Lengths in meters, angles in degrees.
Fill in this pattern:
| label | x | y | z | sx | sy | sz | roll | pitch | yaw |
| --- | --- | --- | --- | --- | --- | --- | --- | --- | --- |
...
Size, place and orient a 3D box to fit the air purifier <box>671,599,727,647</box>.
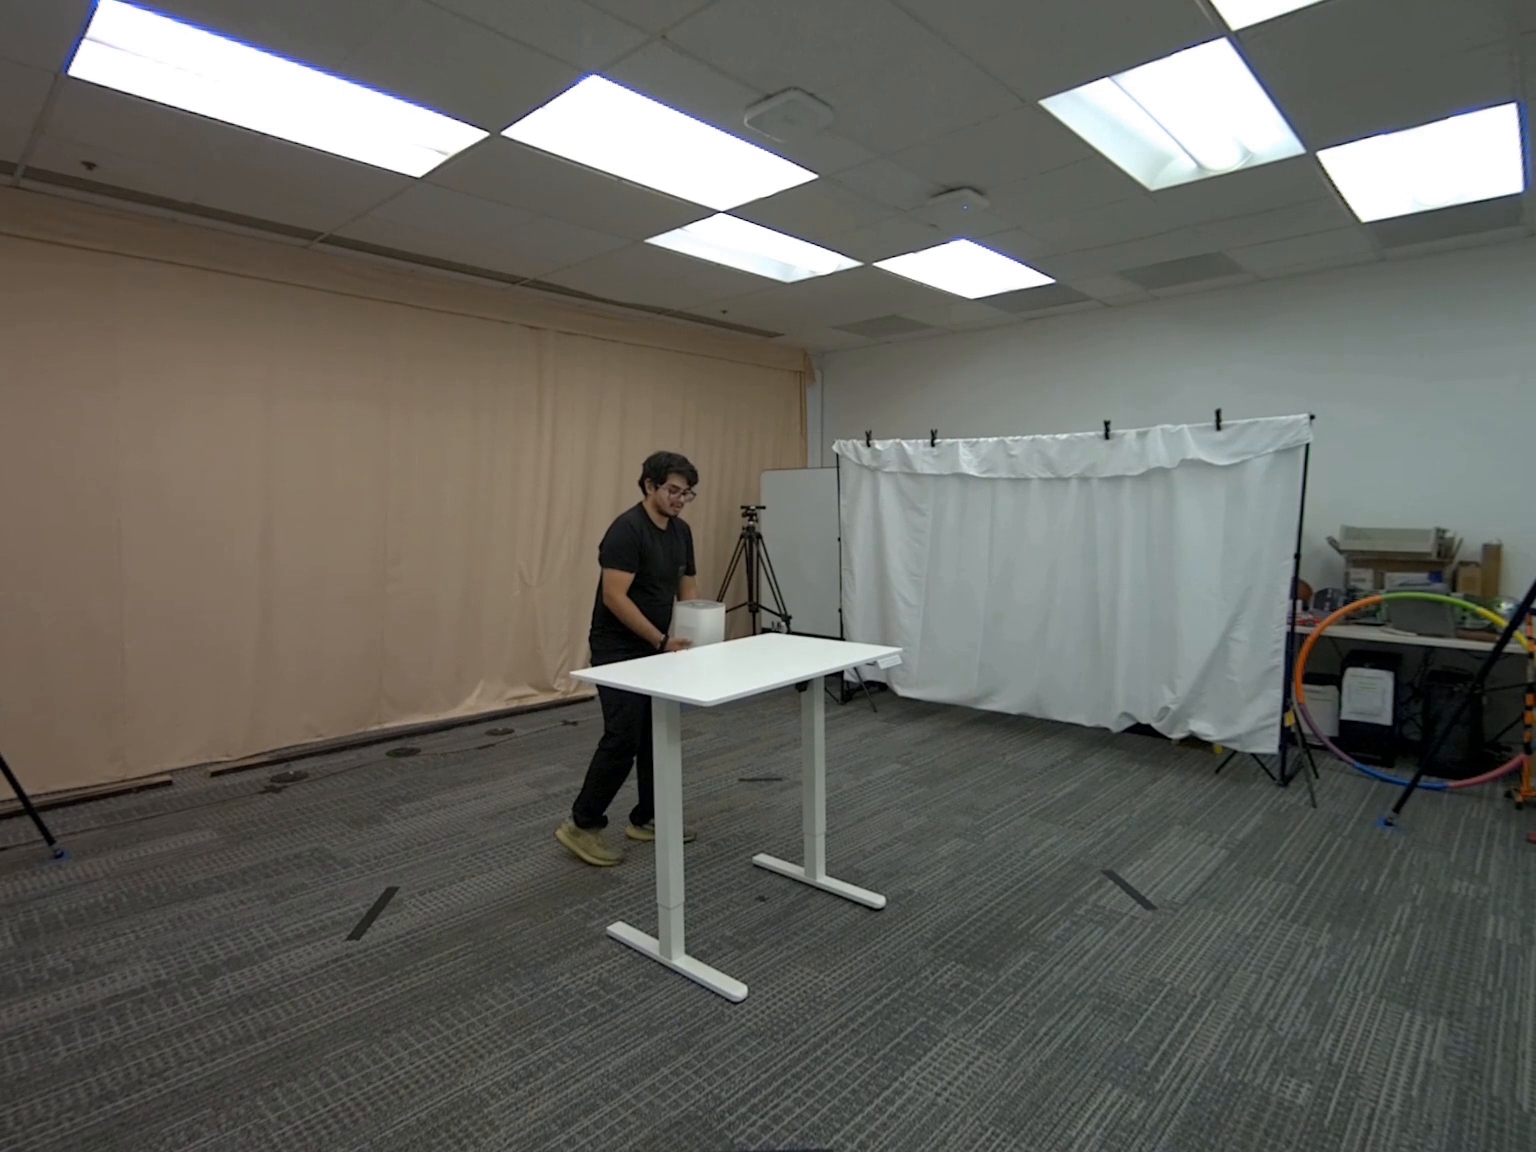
| label | x | y | z | sx | sy | sz | roll | pitch | yaw |
| --- | --- | --- | --- | --- | --- | --- | --- | --- | --- |
| air purifier | -0.274 | 0.241 | 3.306 | 0.177 | 0.264 | 0.166 | 8 | 8 | 36 |
